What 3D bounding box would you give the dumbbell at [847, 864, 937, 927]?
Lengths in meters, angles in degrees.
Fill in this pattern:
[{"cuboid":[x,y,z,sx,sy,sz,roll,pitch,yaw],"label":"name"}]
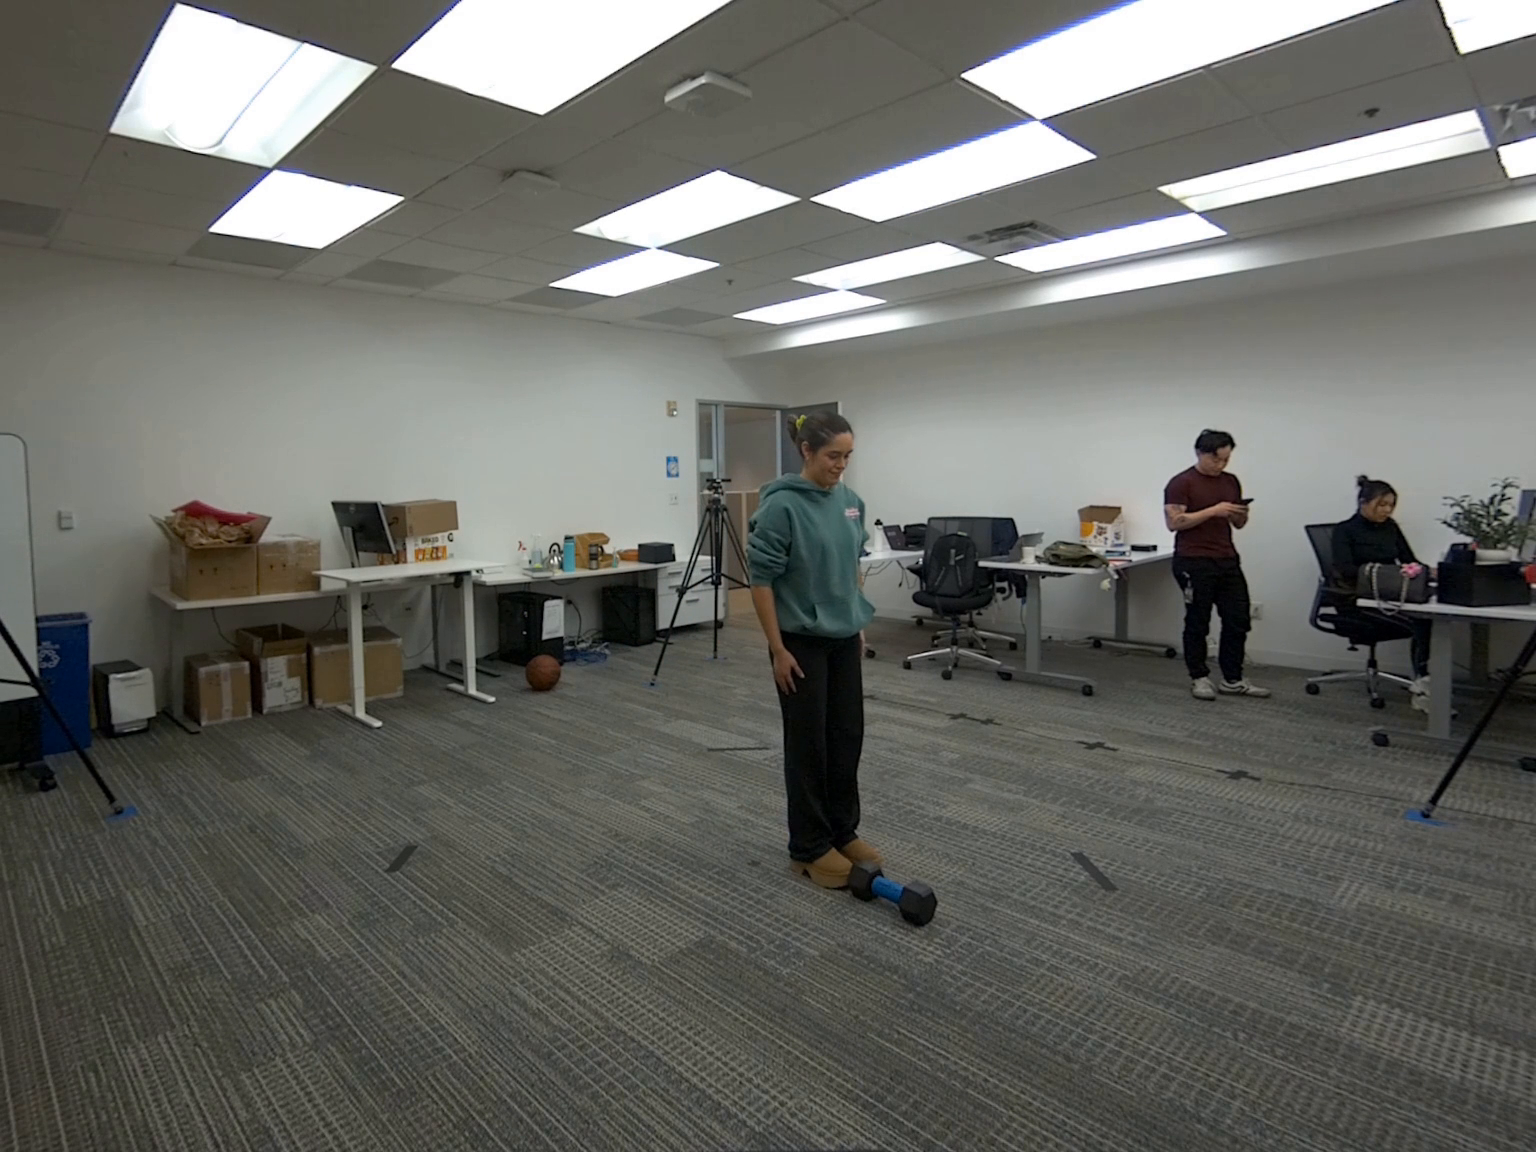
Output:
[{"cuboid":[0.404,1.024,2.761,0.302,0.124,0.105,5,-22,48],"label":"dumbbell"}]
